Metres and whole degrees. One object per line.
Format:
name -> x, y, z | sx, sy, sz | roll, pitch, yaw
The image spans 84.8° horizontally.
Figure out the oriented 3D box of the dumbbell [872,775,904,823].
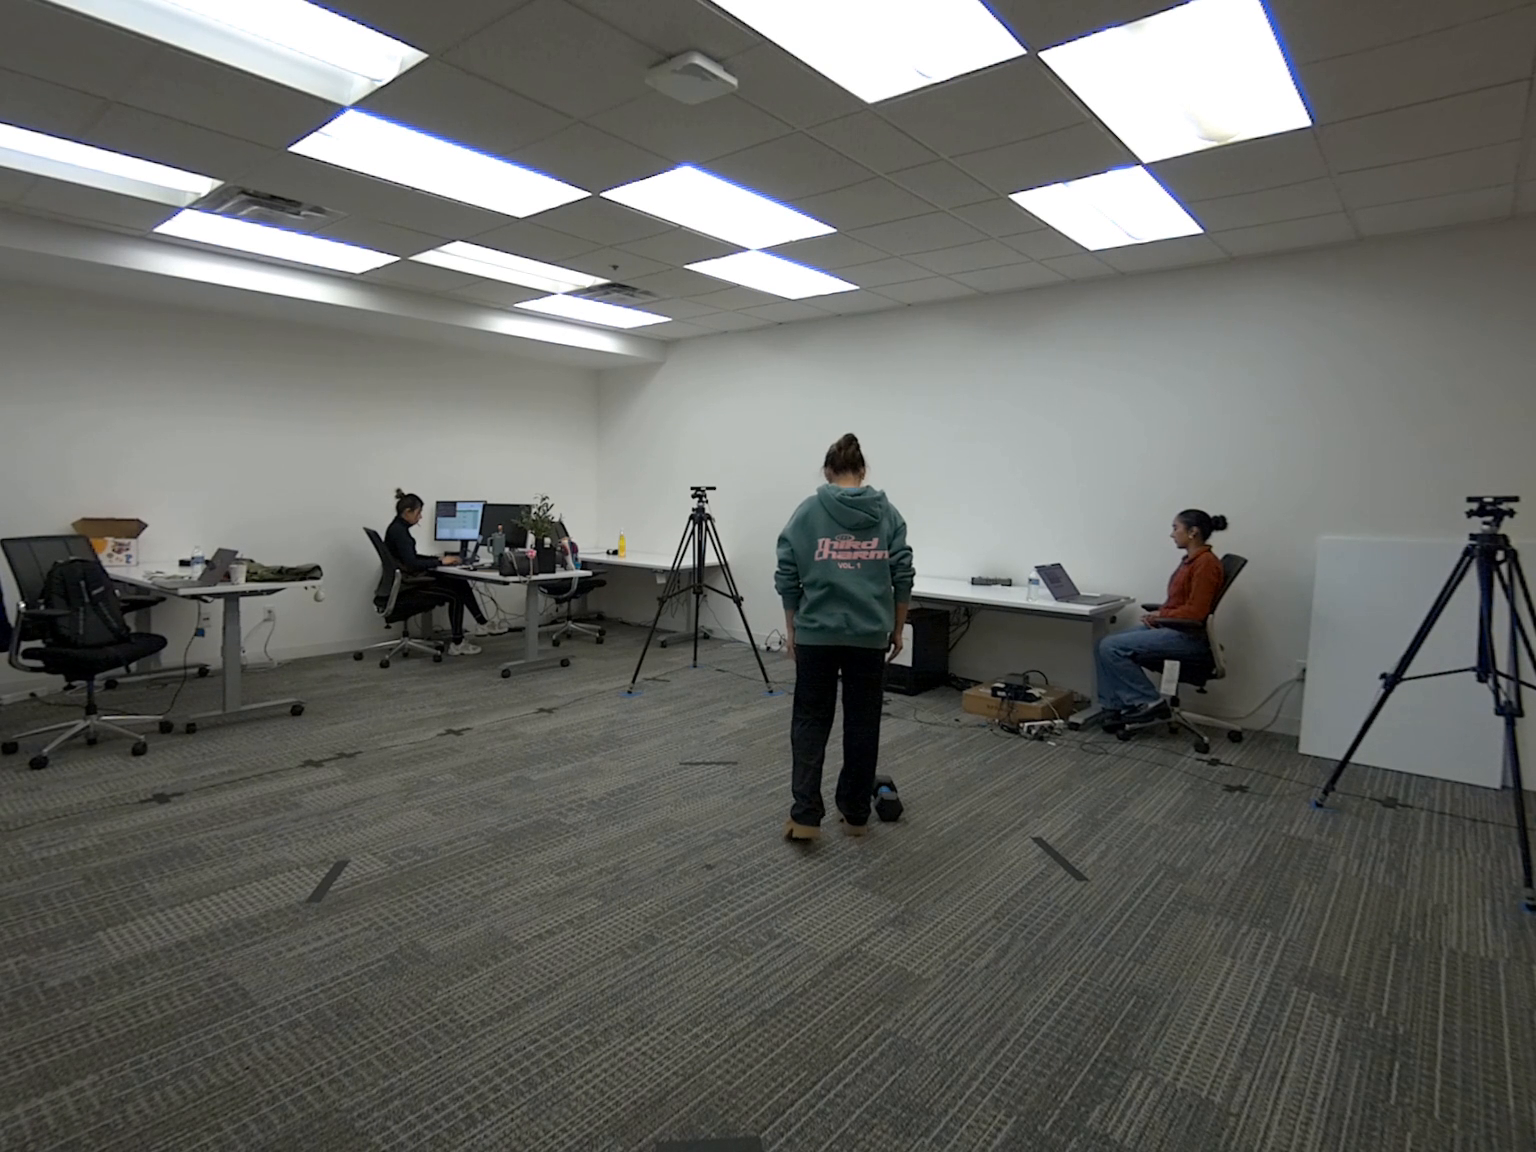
dumbbell -> 0.506, 0.964, 3.721 | 0.109, 0.123, 0.293 | 30, 6, 0
